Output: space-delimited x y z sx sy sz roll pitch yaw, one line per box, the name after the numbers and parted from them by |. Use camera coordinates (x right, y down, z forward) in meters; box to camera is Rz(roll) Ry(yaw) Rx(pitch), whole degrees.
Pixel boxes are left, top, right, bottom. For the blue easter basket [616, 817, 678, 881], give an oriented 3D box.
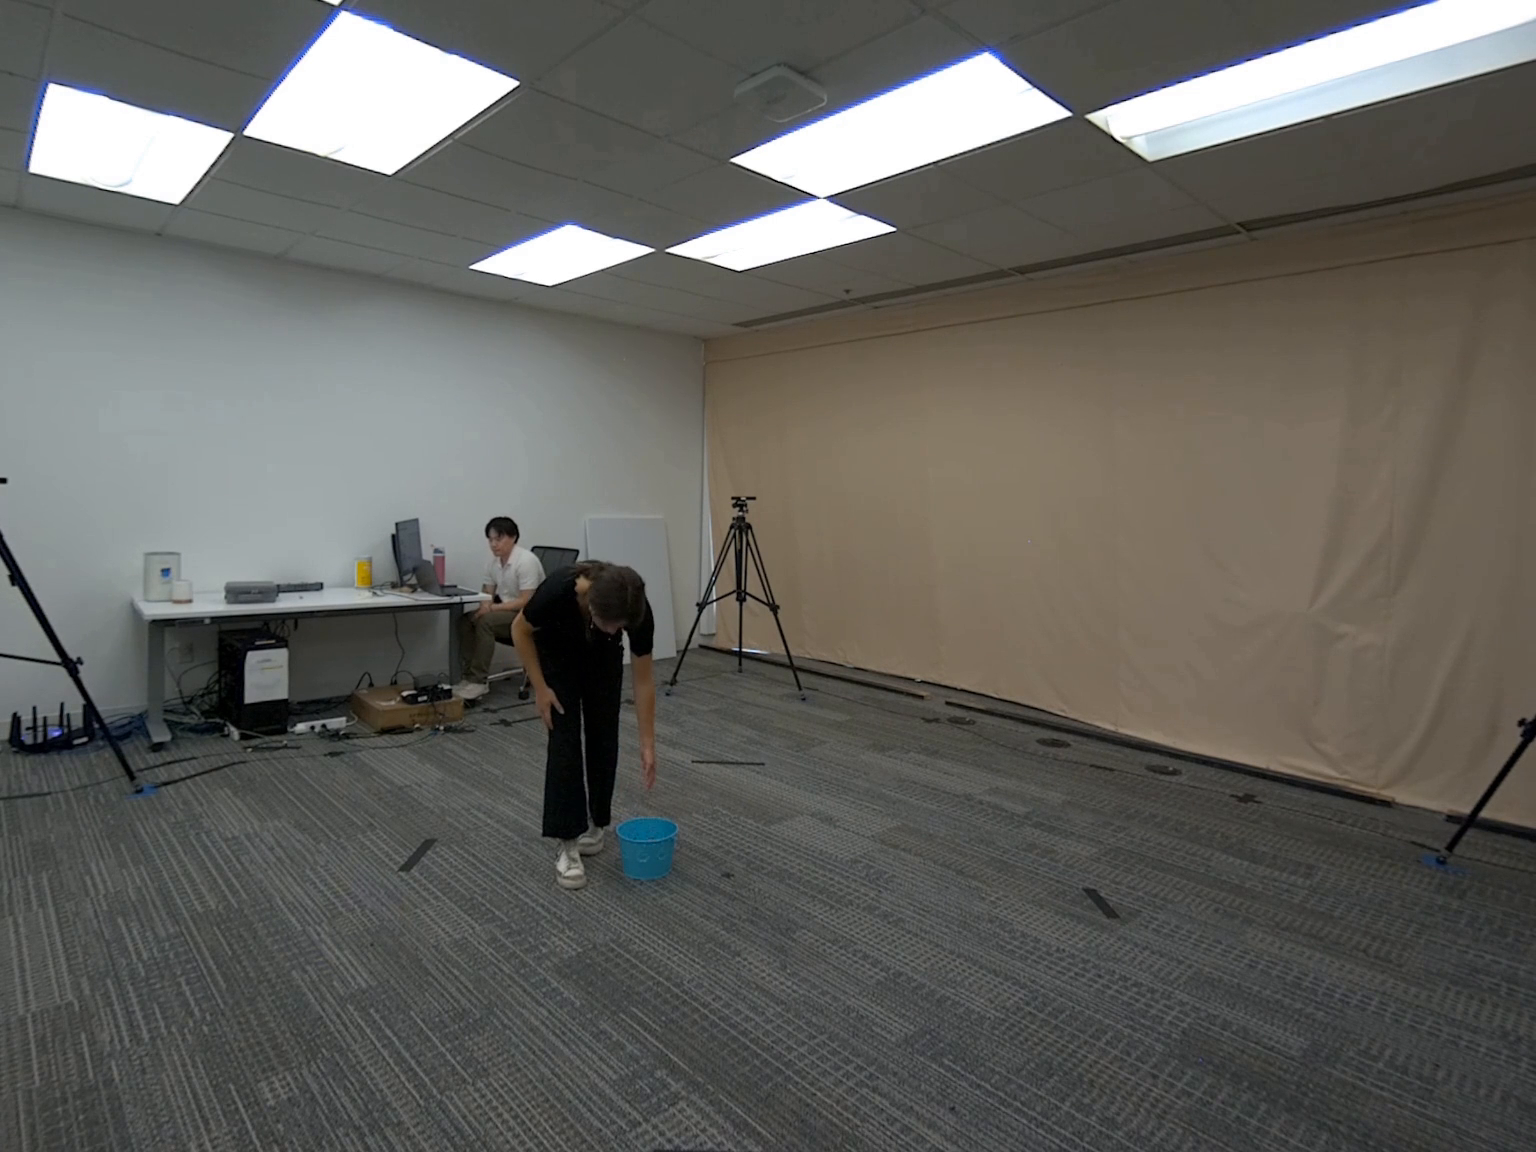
-0.455 1.019 3.139 0.243 0.155 0.244 1 5 -1 | blue easter basket
